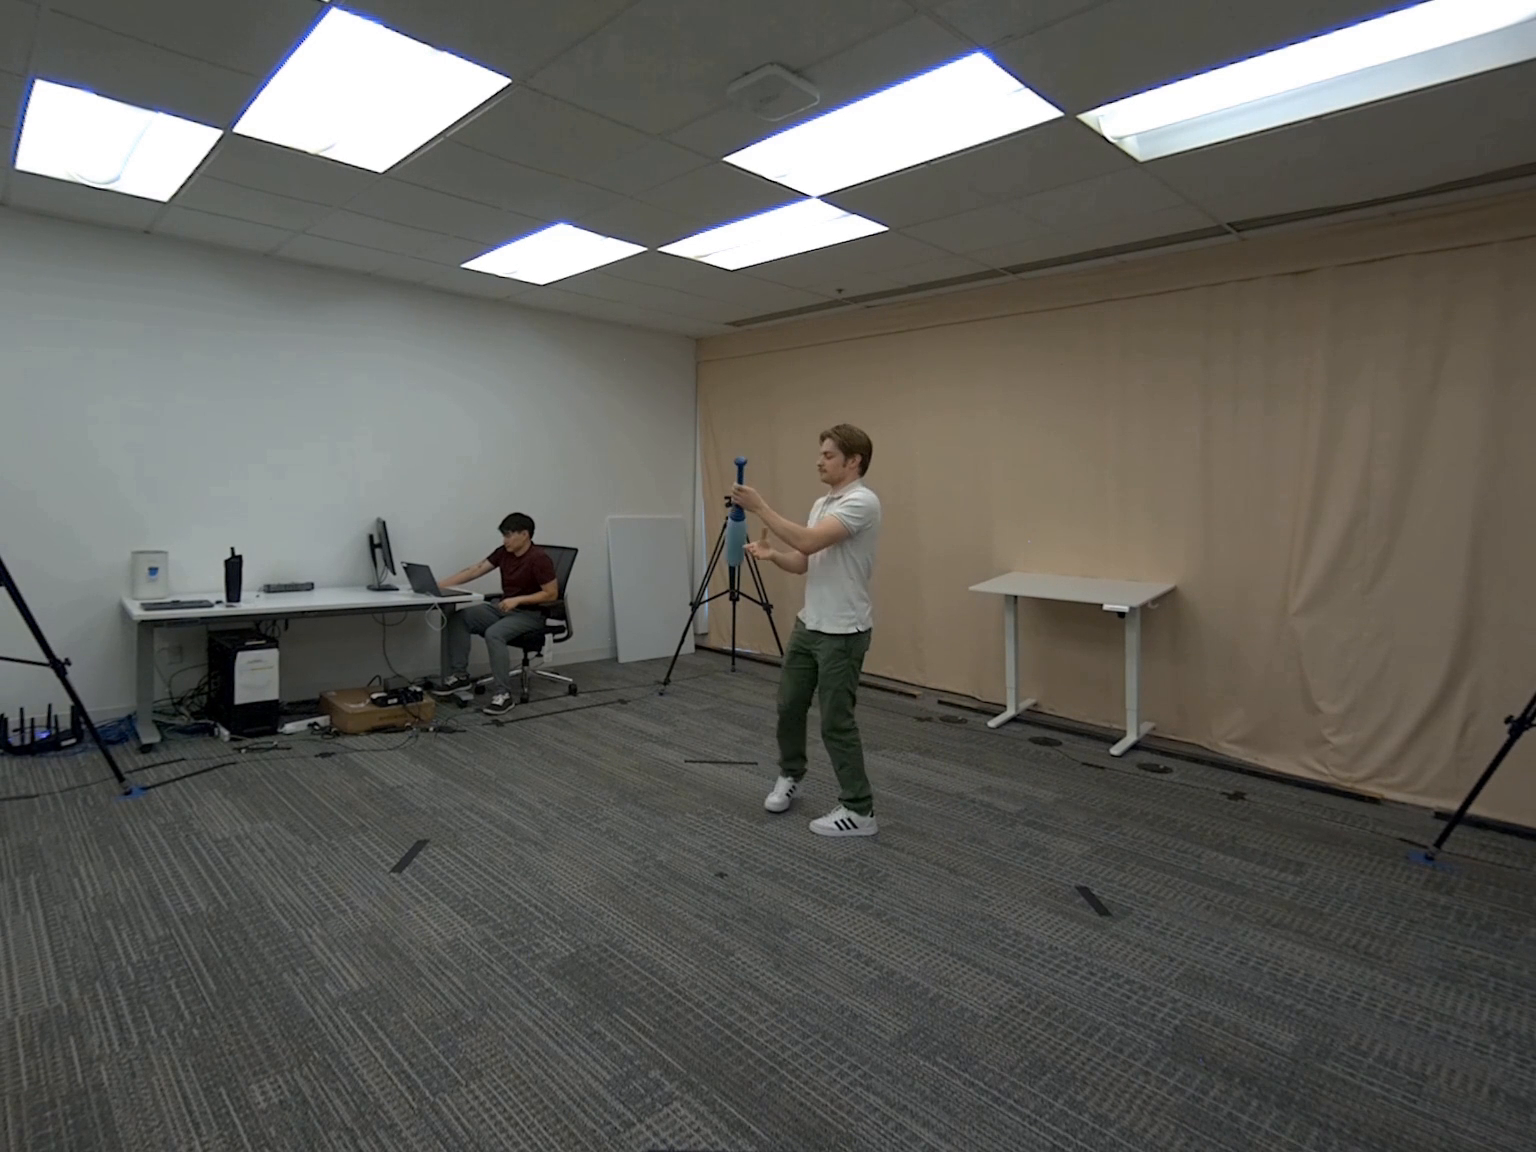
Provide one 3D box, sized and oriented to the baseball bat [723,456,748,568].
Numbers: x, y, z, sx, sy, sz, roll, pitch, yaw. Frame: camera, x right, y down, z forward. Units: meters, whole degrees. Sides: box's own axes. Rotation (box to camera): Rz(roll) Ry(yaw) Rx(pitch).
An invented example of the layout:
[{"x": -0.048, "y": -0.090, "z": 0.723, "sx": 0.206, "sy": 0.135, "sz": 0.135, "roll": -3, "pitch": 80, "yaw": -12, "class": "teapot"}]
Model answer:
[{"x": -0.129, "y": -0.256, "z": 3.462, "sx": 0.089, "sy": 0.532, "sz": 0.091, "roll": 3, "pitch": 36, "yaw": -3, "class": "baseball bat"}]
